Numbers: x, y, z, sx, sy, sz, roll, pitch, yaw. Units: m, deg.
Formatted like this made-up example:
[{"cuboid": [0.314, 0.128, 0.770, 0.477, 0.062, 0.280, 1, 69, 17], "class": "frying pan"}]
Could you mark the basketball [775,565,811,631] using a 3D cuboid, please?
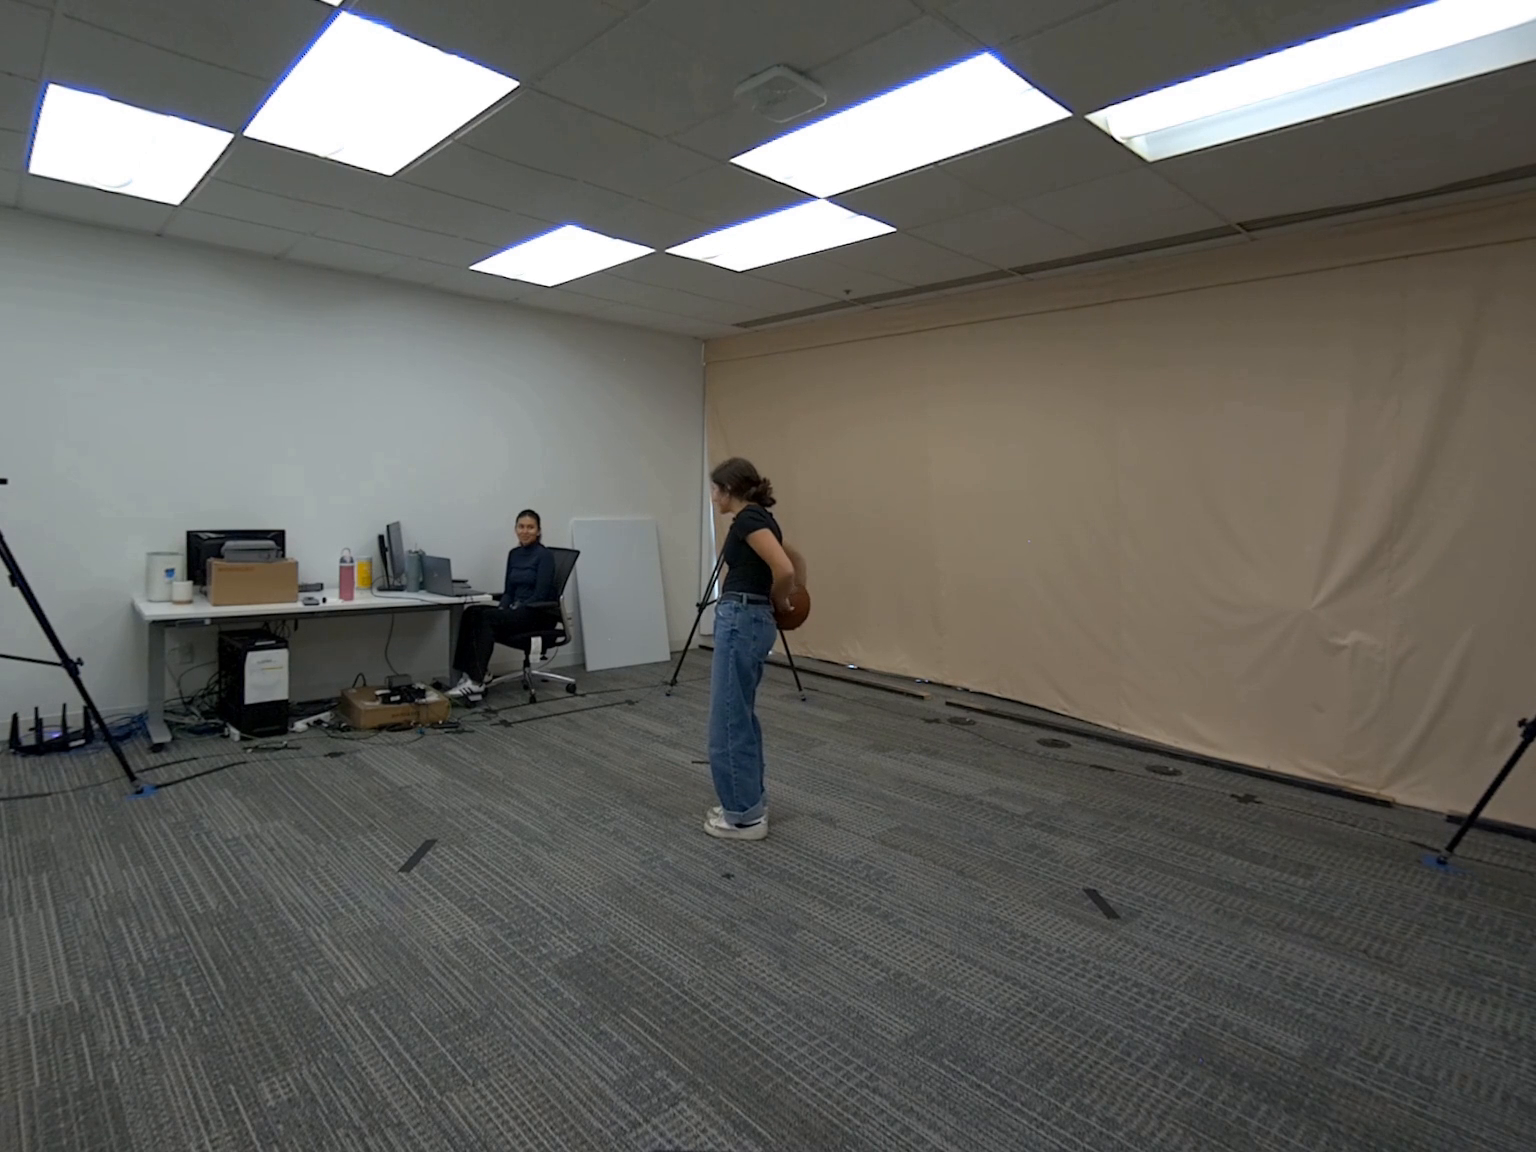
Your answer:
[{"cuboid": [0.065, 0.122, 3.755, 0.236, 0.235, 0.237, 1, 4, -1], "class": "basketball"}]
